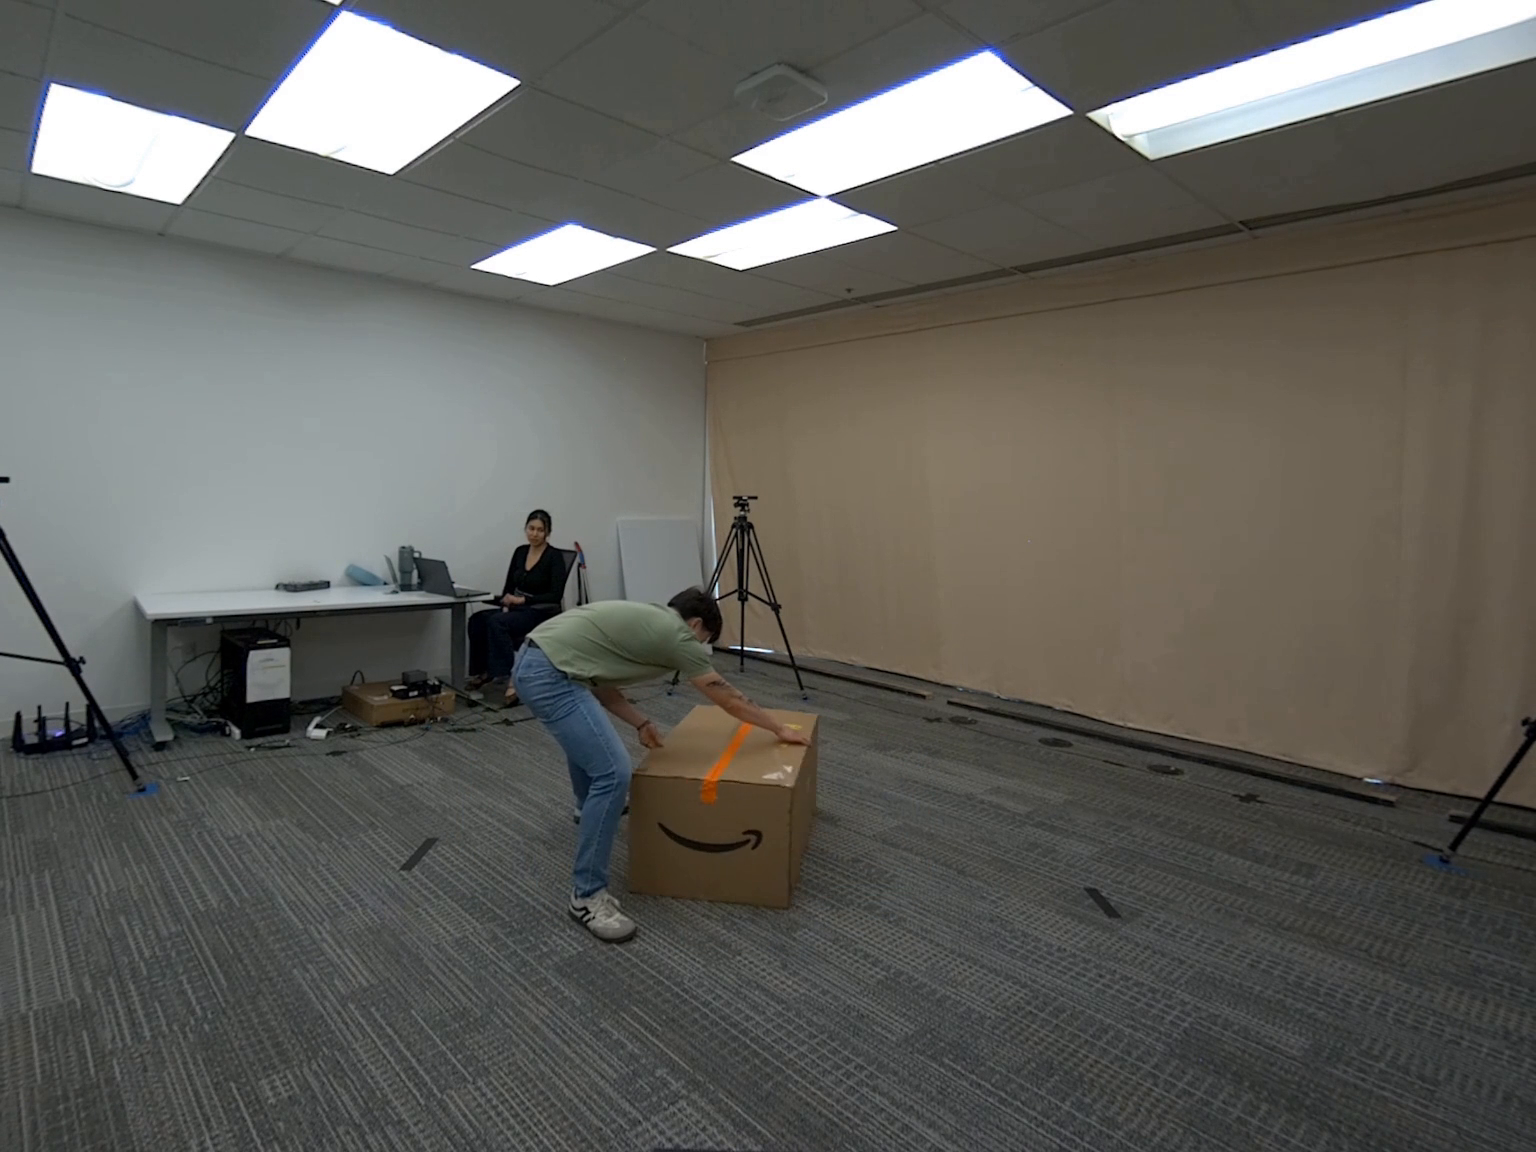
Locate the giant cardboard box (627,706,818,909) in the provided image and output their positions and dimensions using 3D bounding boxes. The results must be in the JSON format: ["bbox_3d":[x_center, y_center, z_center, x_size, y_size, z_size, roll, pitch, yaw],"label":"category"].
[{"bbox_3d":[-0.131,0.861,3.385,0.582,0.425,1.021,3,5,8],"label":"giant cardboard box"}]
